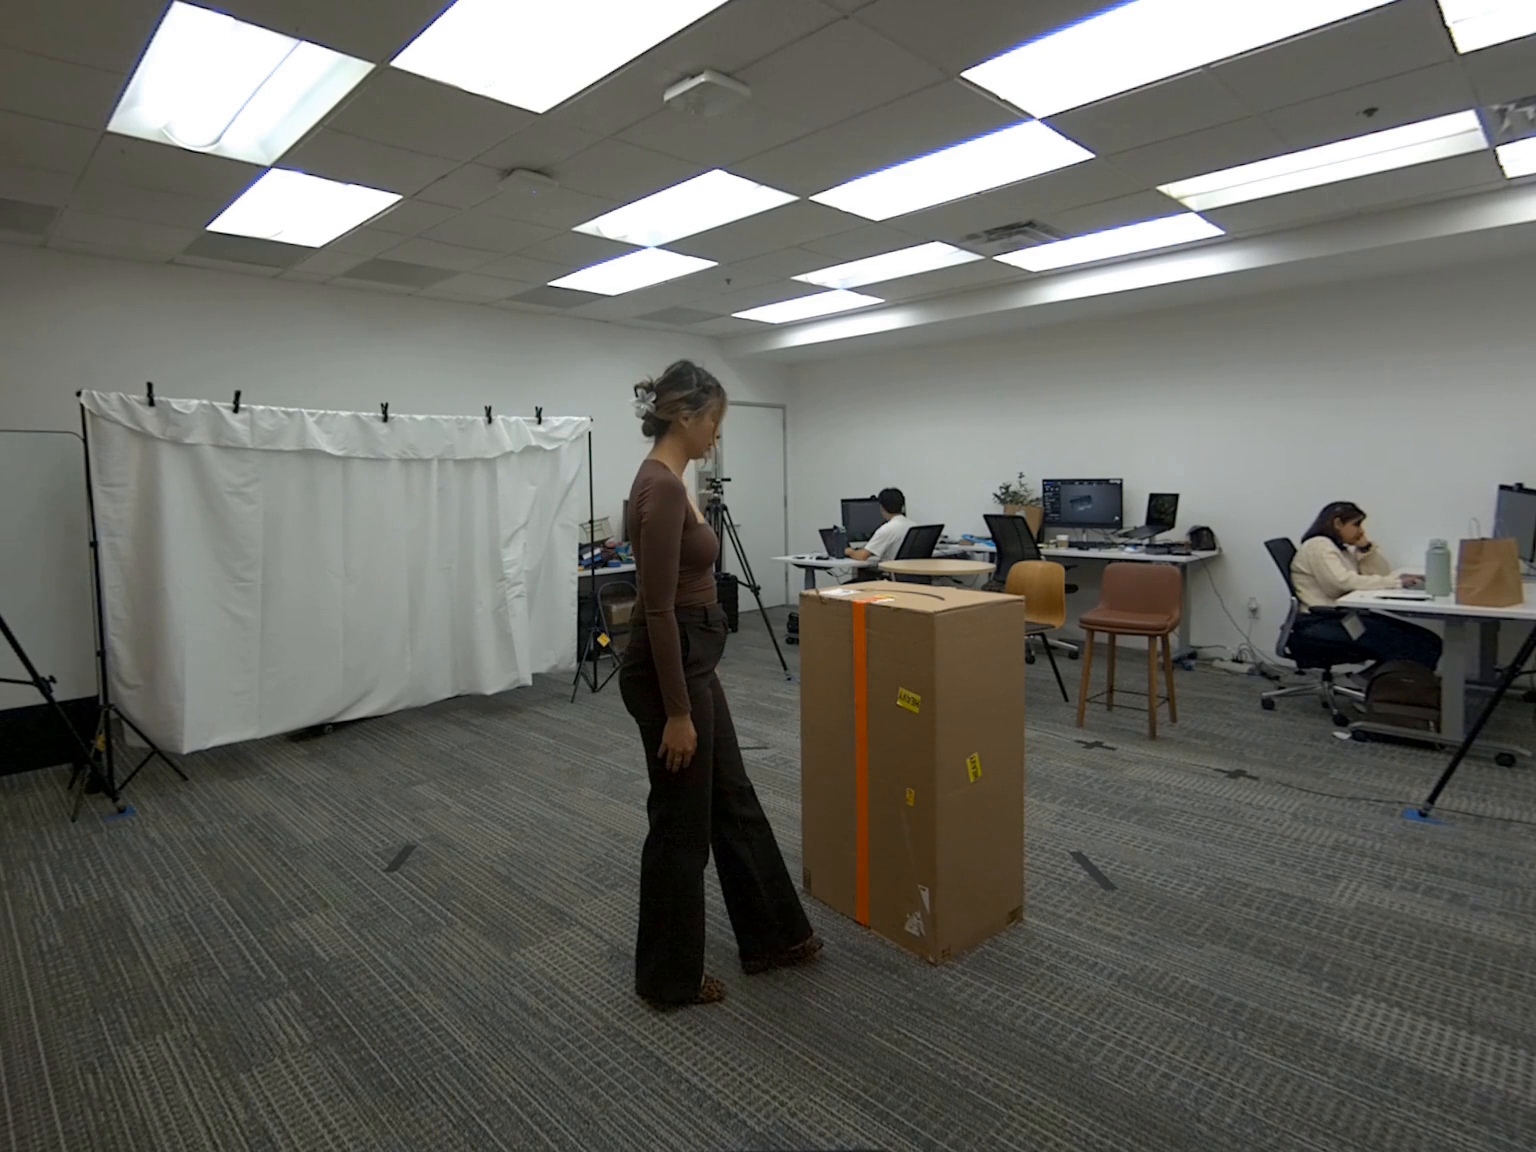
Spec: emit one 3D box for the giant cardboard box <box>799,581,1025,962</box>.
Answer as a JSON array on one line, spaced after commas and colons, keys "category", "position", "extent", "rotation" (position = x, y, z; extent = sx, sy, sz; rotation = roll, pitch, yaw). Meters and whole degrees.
[{"category": "giant cardboard box", "position": [0.453, 0.563, 2.749], "extent": [0.435, 1.023, 0.601], "rotation": [-5, 6, -36]}]
